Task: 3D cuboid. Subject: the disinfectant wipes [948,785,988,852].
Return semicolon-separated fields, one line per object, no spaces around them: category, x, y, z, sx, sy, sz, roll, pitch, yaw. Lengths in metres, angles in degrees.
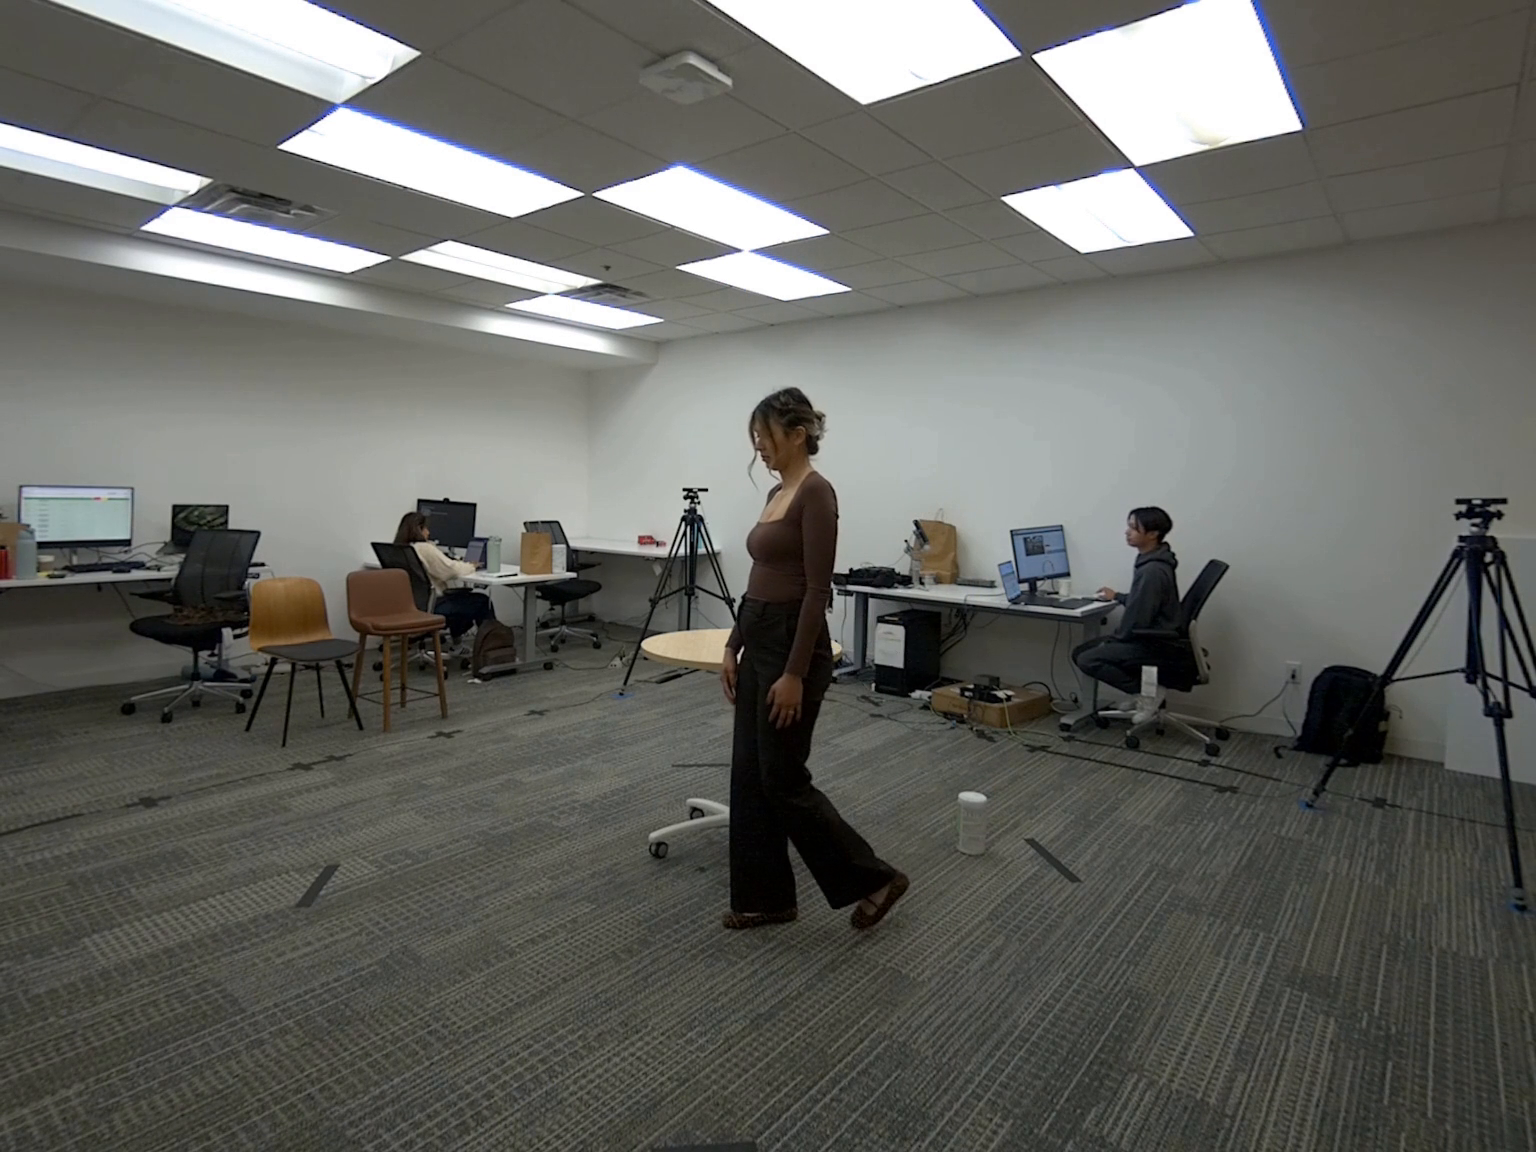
disinfectant wipes;0.788;0.955;3.327;0.118;0.217;0.118;1;2;-2
